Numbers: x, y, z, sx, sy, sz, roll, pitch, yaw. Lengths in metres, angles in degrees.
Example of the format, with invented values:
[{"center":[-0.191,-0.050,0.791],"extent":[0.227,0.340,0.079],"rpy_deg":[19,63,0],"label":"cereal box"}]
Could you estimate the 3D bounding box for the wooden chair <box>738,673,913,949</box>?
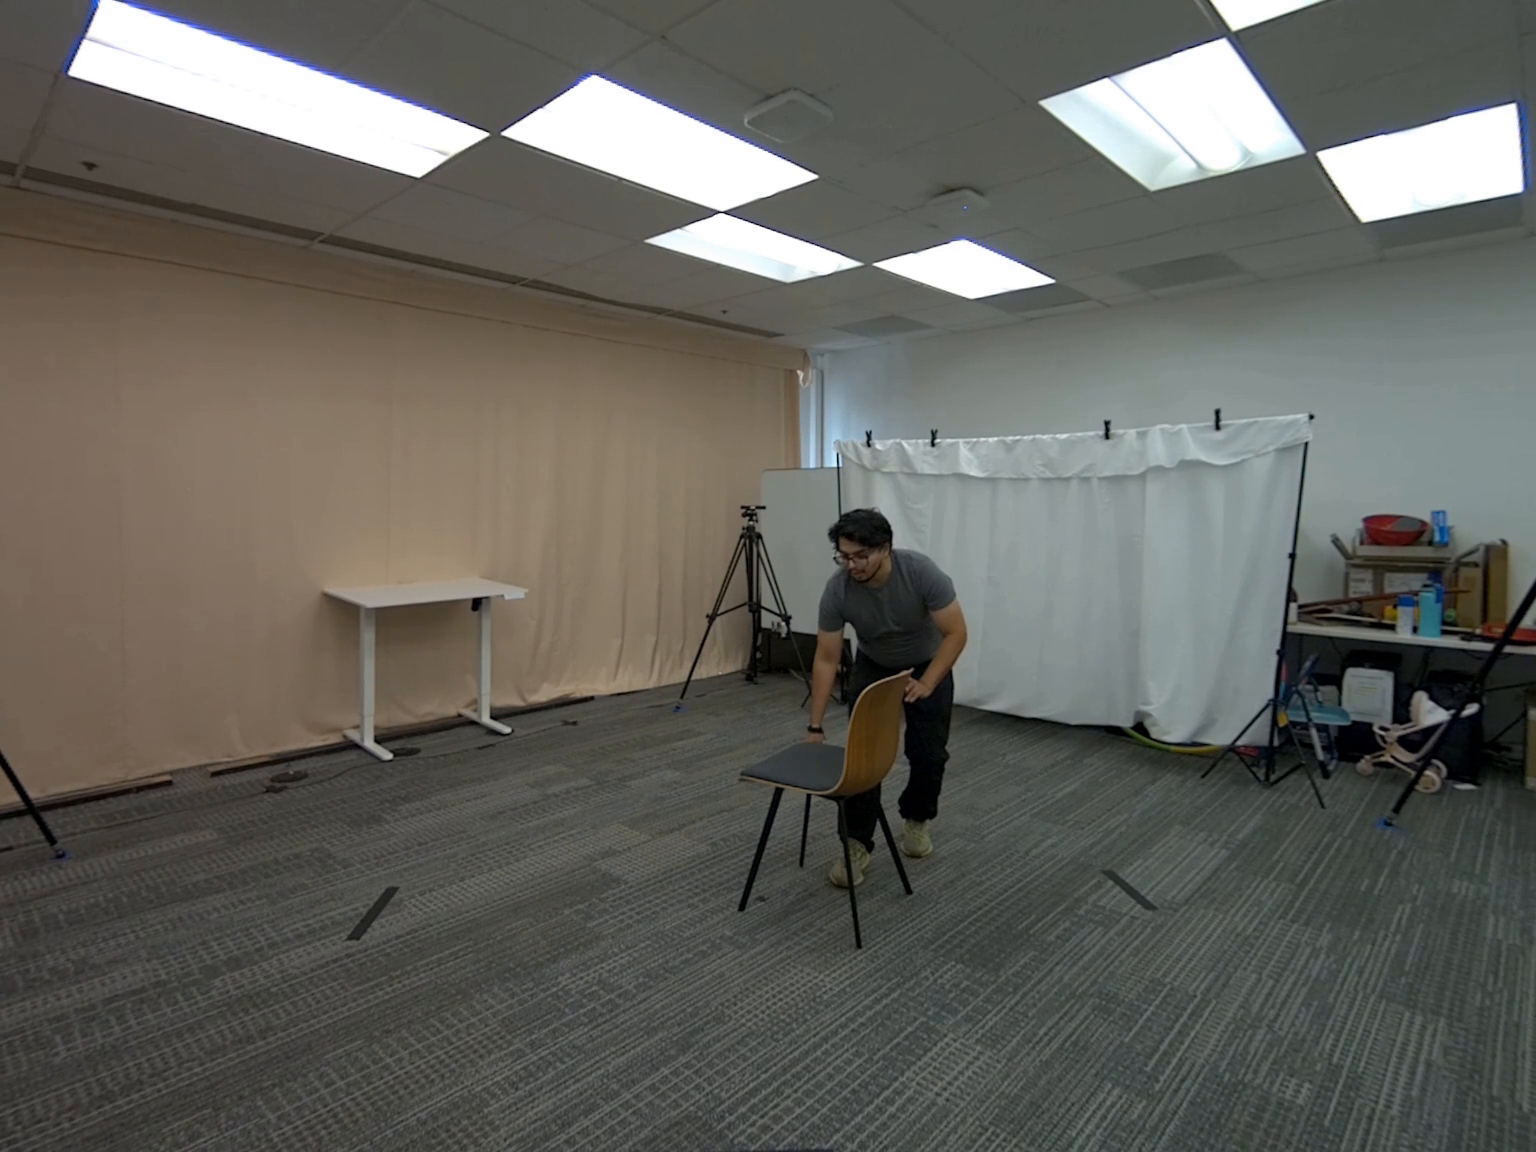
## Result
[{"center":[0.197,0.717,2.925],"extent":[0.539,0.874,0.465],"rpy_deg":[7,7,31],"label":"wooden chair"}]
